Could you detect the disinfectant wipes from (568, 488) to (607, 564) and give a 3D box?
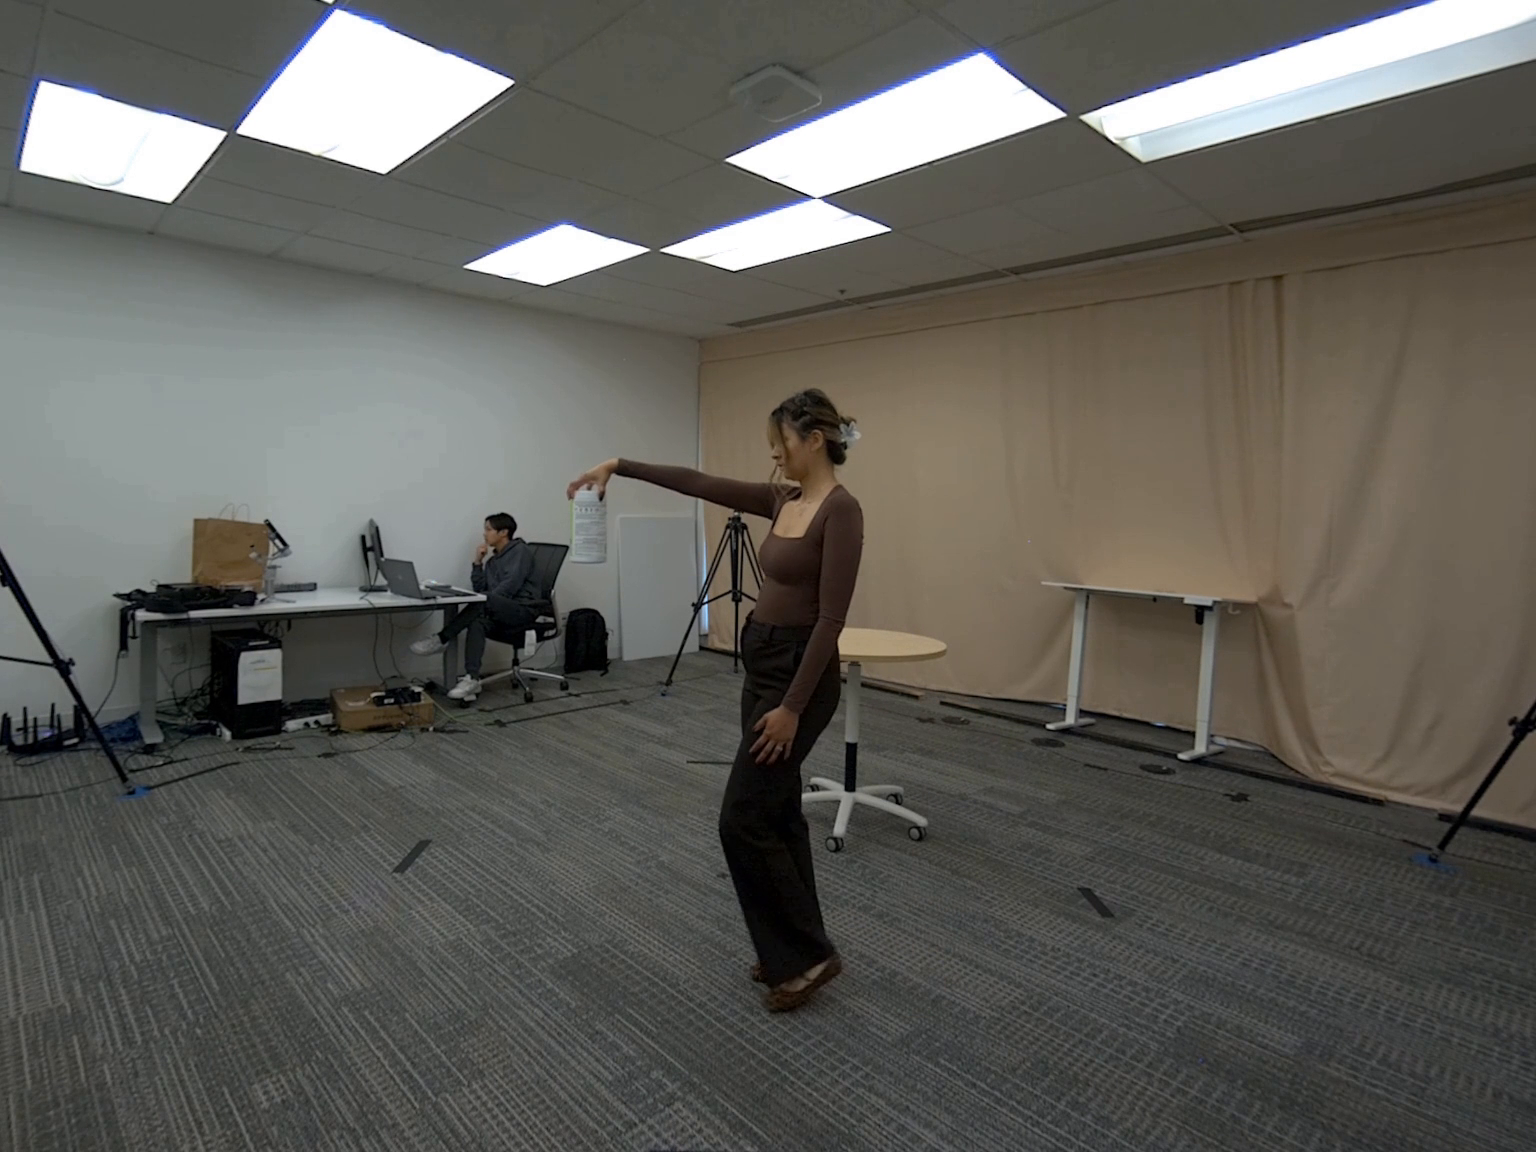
[{"bbox_3d":[-0.541,-0.147,2.516,0.118,0.217,0.118,0,3,-1],"label":"disinfectant wipes"}]
